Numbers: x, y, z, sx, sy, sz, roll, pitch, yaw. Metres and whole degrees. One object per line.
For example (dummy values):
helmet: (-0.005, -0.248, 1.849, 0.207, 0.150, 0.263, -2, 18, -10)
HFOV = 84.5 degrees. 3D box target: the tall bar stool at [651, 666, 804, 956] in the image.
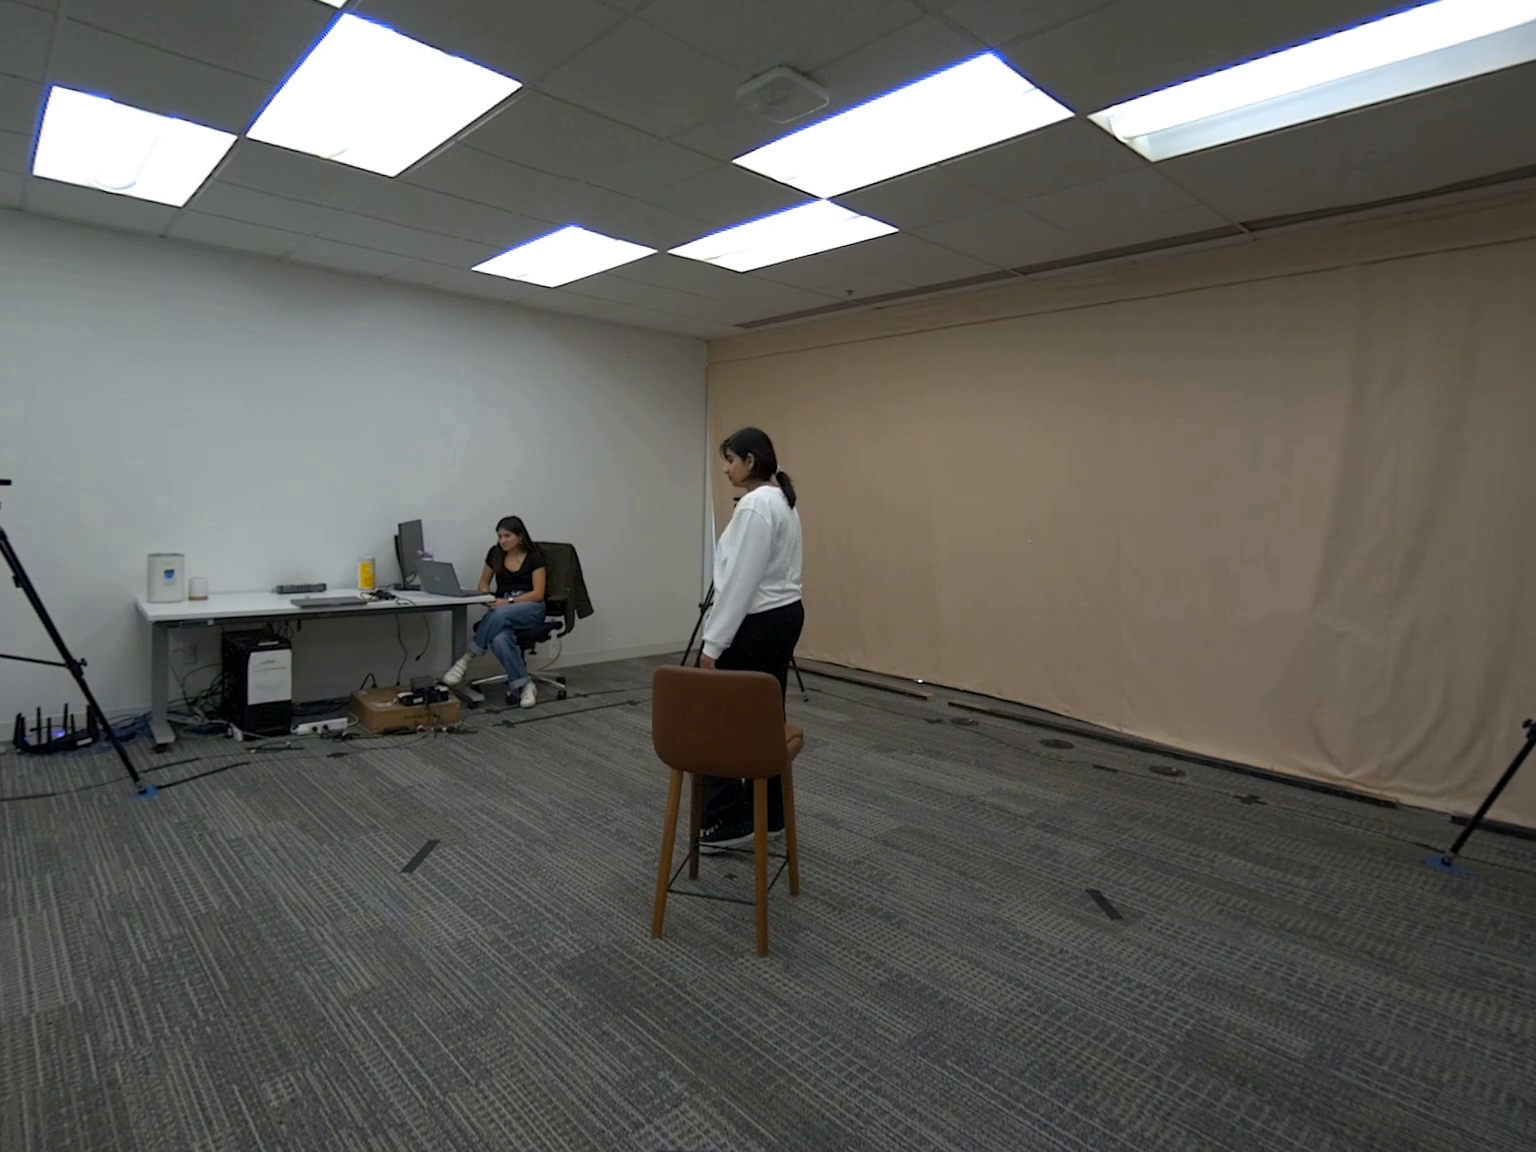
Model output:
tall bar stool: (-0.138, 0.704, 2.791, 0.462, 0.887, 0.463, 2, 5, 16)
